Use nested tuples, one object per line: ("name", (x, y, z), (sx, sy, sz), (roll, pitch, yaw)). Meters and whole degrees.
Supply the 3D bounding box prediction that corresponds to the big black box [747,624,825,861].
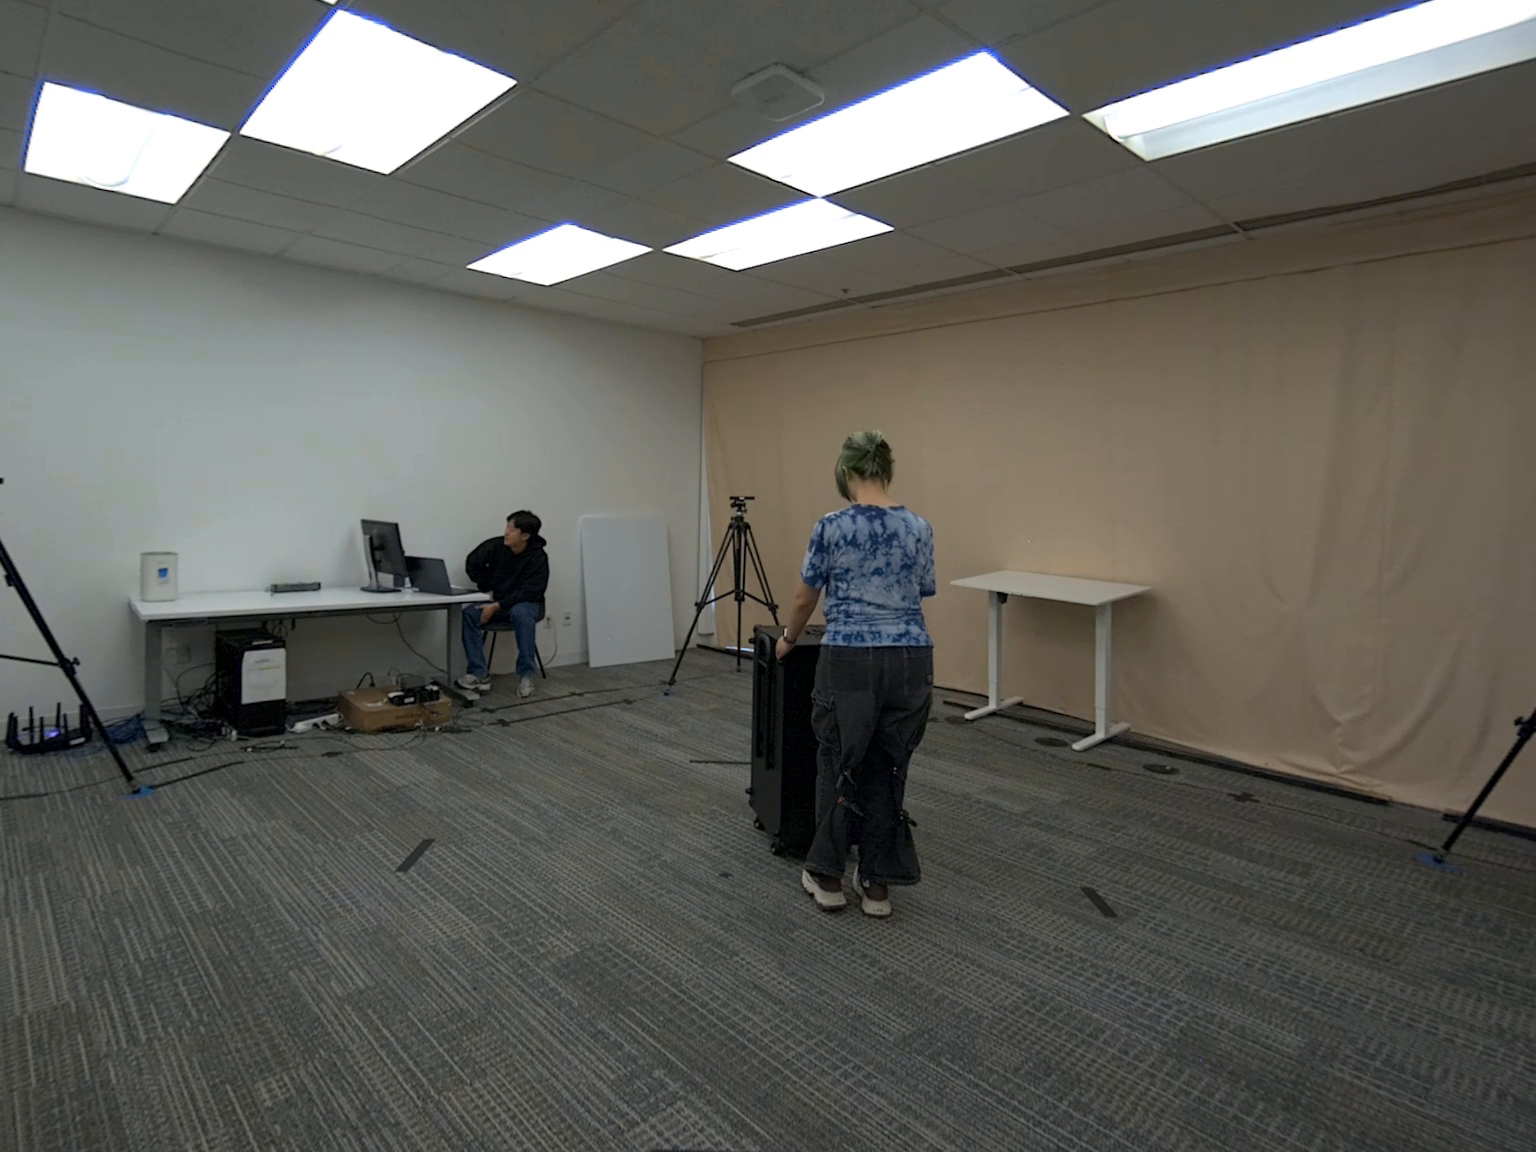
("big black box", (0.139, 0.662, 3.413), (0.392, 0.859, 0.528), (0, 4, -14))
